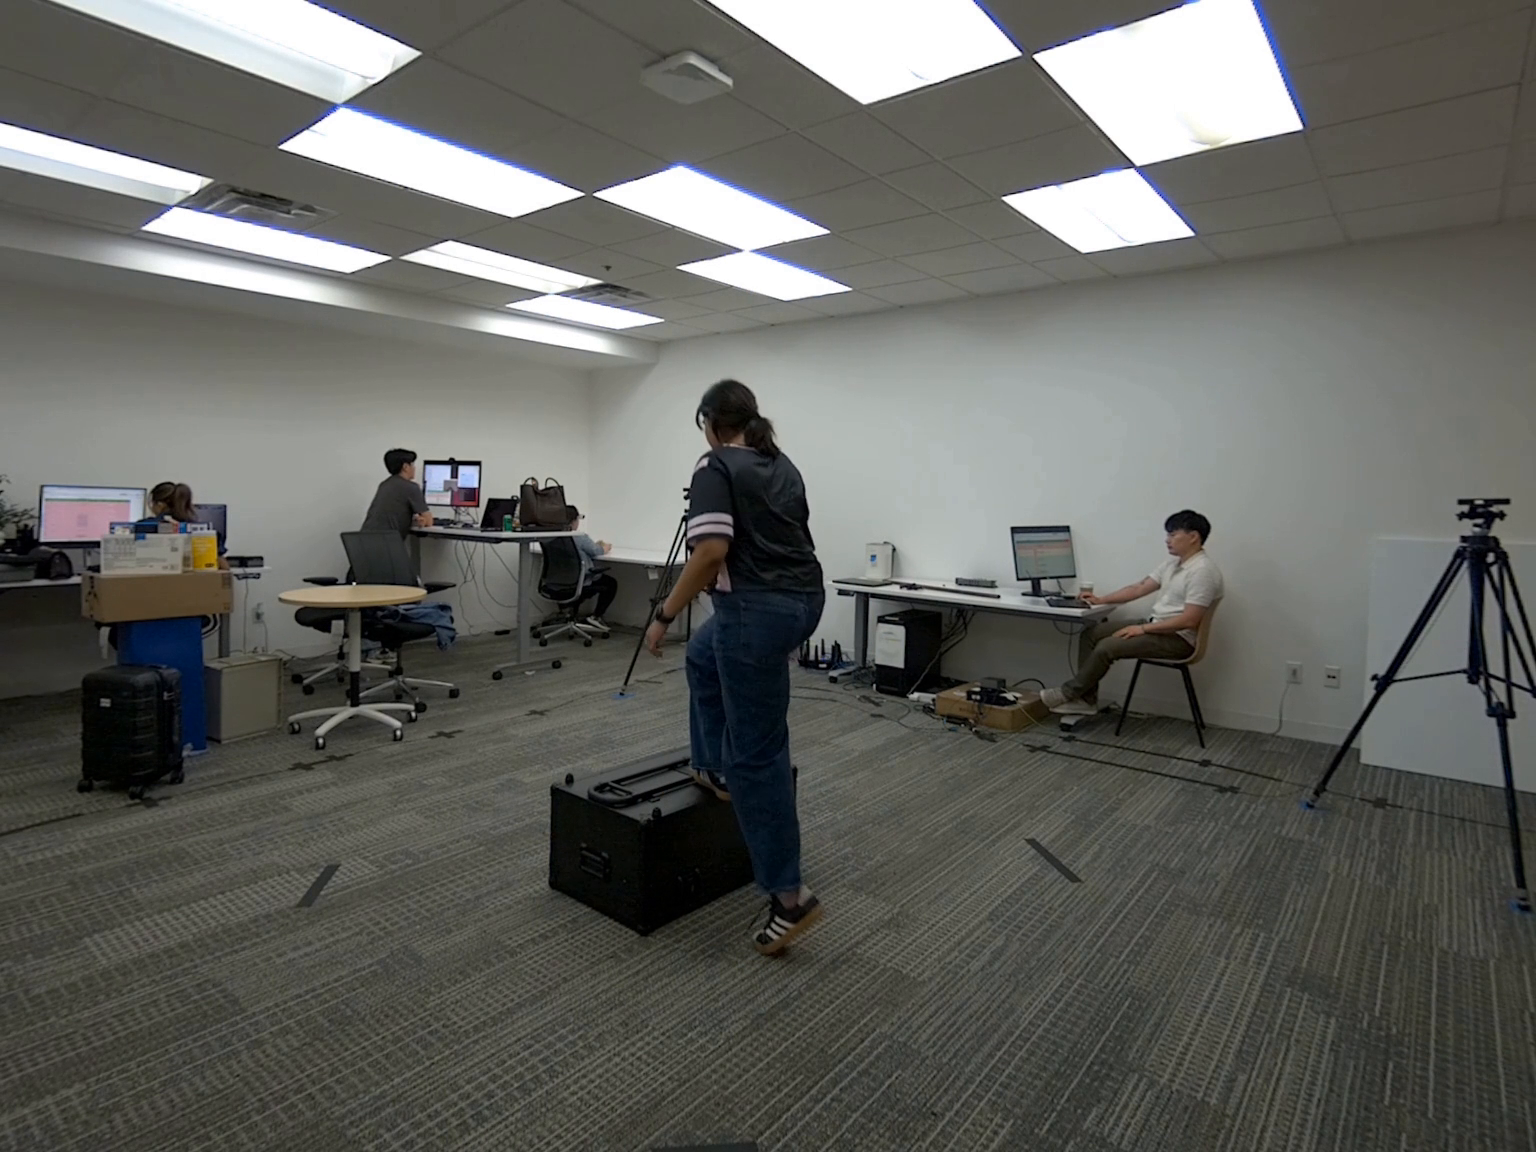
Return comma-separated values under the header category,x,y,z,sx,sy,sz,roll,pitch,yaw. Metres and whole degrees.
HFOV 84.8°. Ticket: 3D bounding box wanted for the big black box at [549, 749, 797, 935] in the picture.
category,x,y,z,sx,sy,sz,roll,pitch,yaw
big black box,-0.316,0.884,3.094,0.541,0.384,0.843,4,5,40
